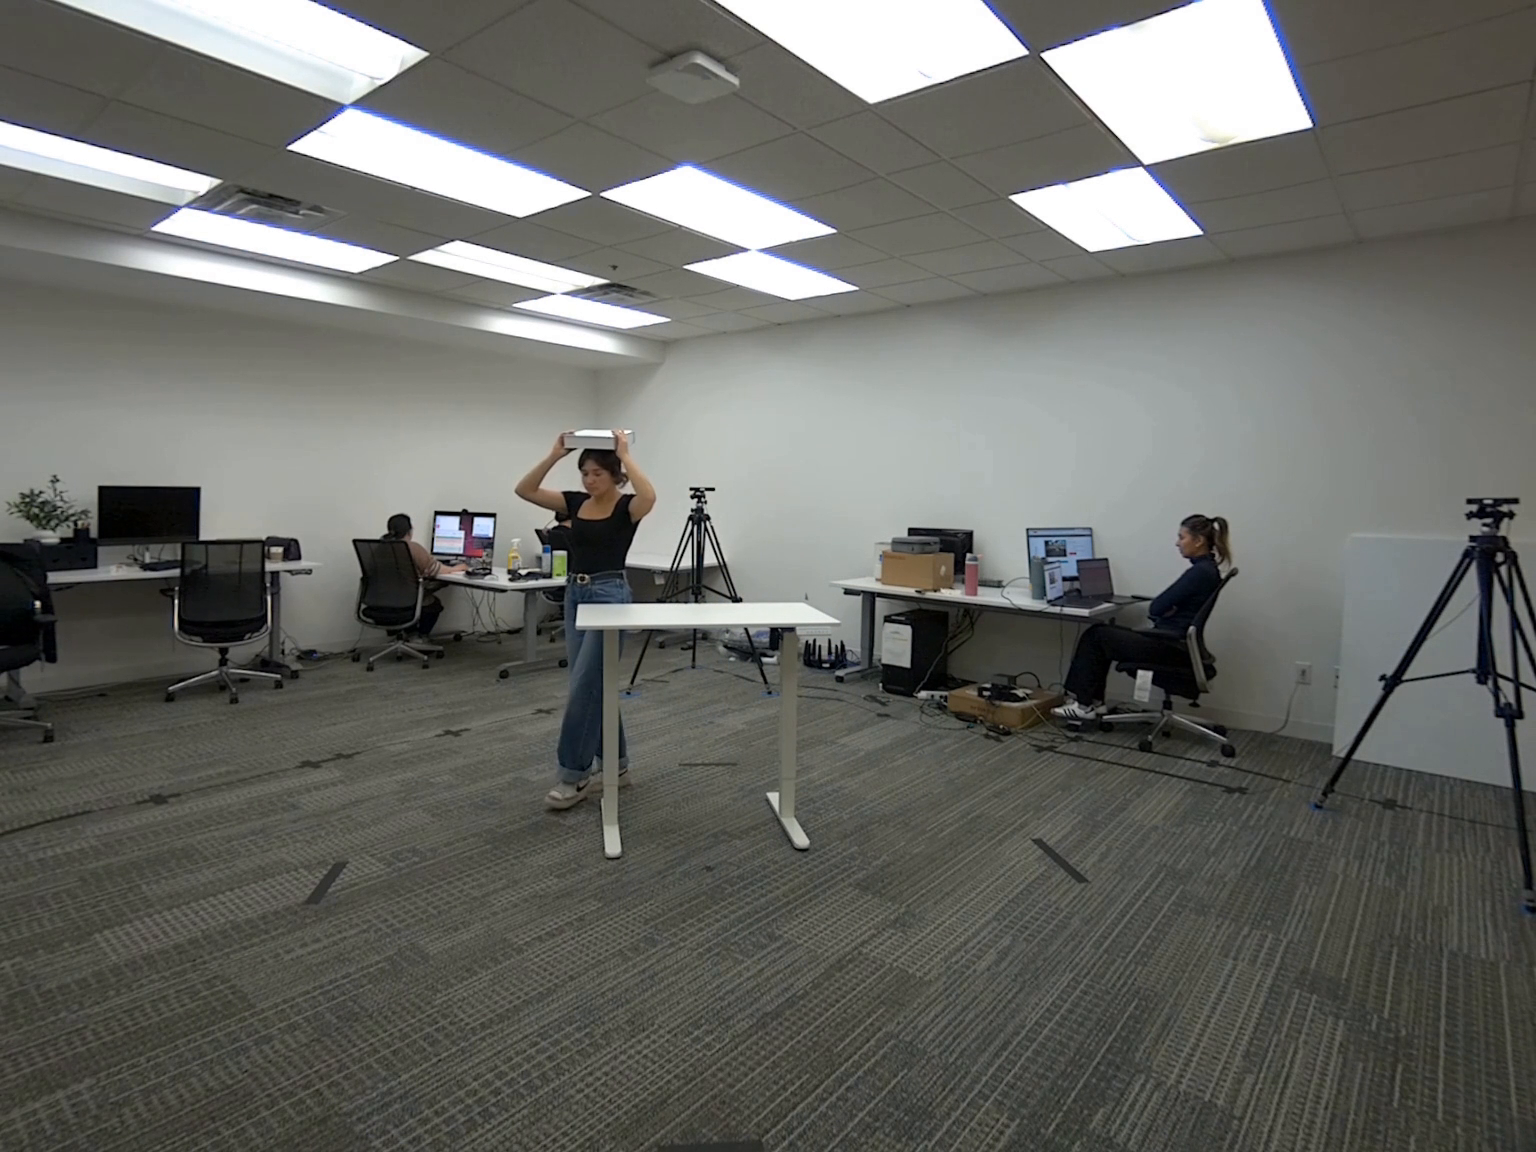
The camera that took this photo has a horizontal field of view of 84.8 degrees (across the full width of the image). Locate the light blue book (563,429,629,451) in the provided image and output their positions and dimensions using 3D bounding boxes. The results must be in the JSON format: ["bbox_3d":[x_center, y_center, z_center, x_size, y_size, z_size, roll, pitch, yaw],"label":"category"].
[{"bbox_3d":[-0.775,-0.620,3.815,0.268,0.058,0.189,6,17,25],"label":"light blue book"}]
